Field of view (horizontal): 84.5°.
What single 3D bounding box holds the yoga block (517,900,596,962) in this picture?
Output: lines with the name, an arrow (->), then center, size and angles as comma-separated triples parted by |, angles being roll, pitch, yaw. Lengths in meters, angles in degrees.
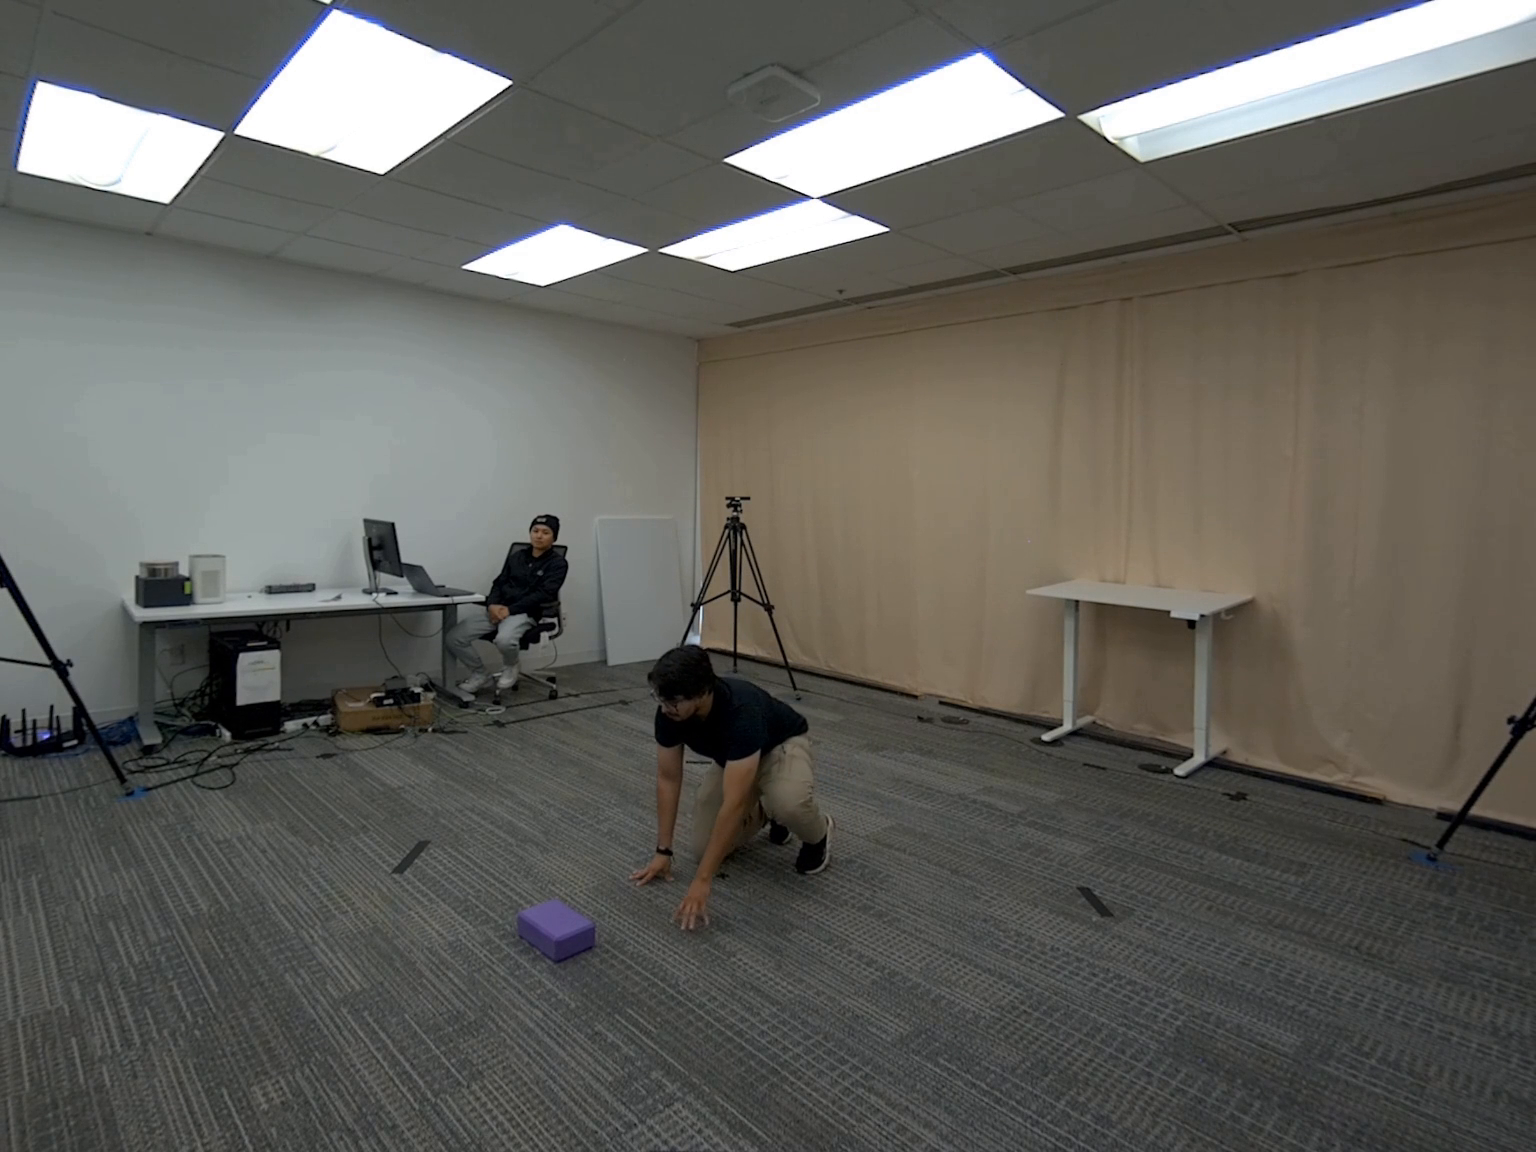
yoga block -> -0.665, 1.102, 2.618 | 0.235, 0.076, 0.145 | 6, 6, 44
